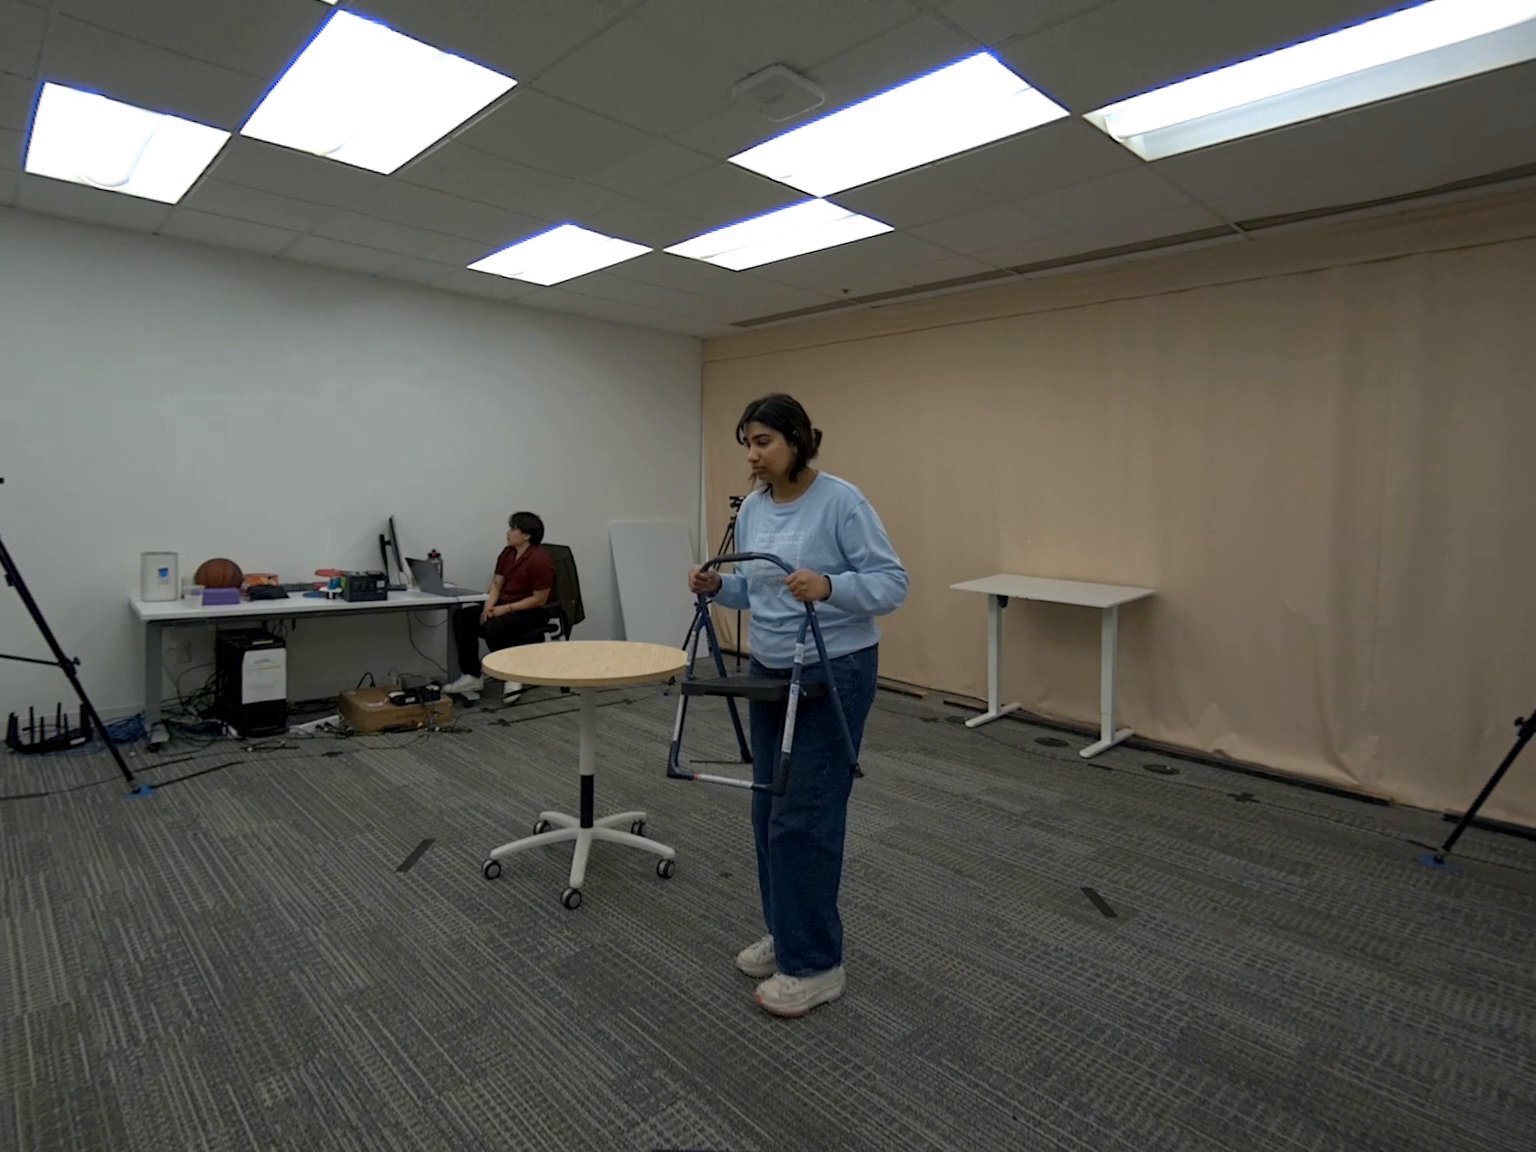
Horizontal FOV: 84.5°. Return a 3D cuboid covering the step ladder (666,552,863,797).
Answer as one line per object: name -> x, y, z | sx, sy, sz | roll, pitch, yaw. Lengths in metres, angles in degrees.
step ladder -> -0.030, 0.252, 2.301 | 0.440, 0.608, 0.341 | -5, -5, 41
